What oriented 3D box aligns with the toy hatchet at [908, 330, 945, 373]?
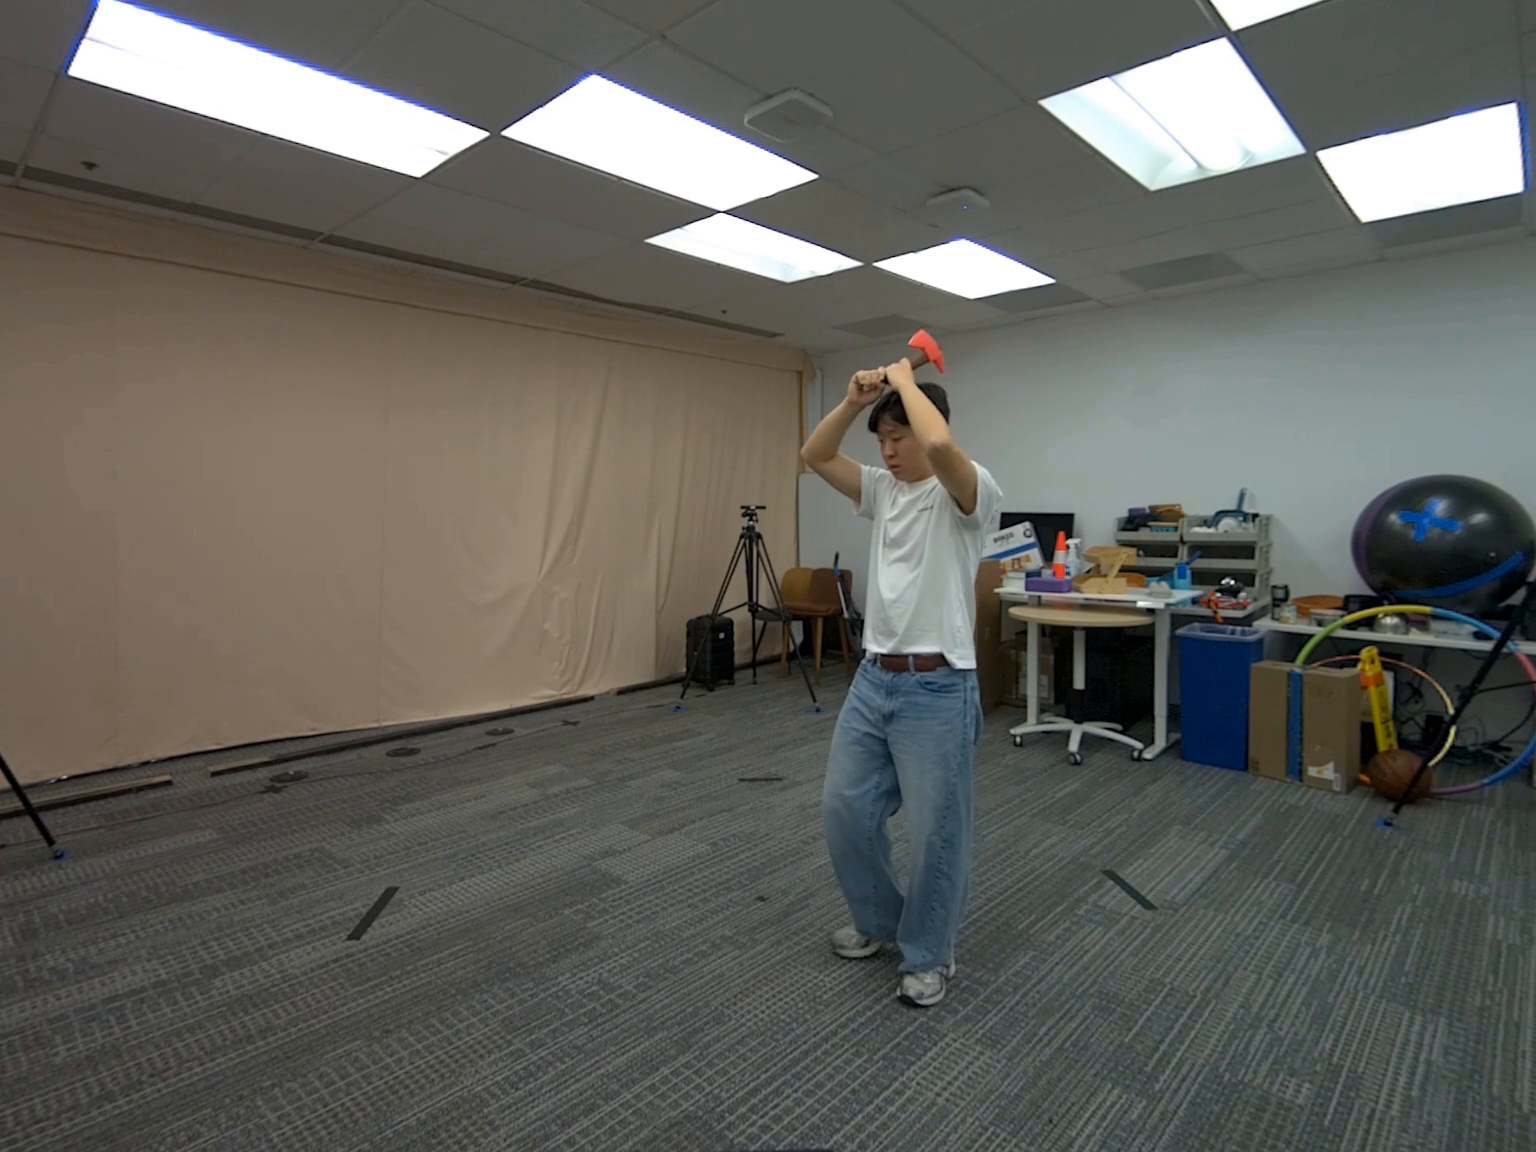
[{"bbox_3d":[0.370,-0.614,2.373,0.267,0.130,0.030,-14,8,-10],"label":"toy hatchet"}]
